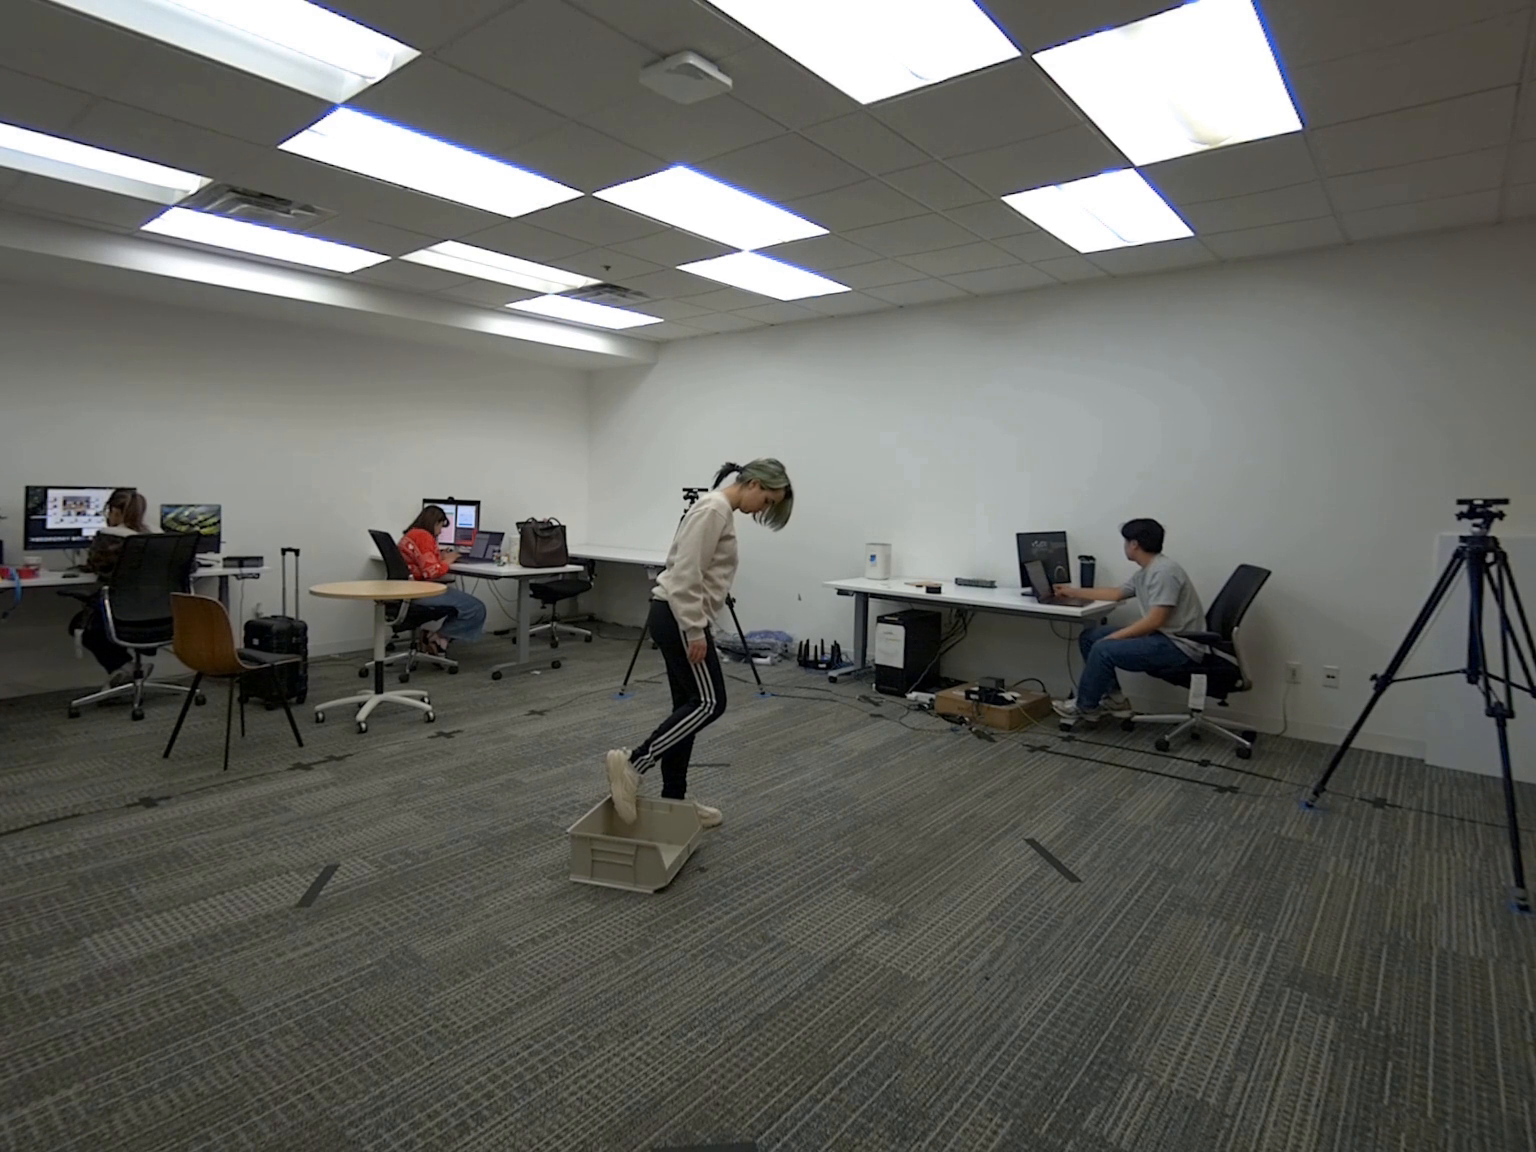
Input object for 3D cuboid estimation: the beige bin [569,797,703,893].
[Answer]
[{"bbox_3d":[-0.492,0.971,3.134,0.383,0.188,0.417,1,4,13],"label":"beige bin"}]
